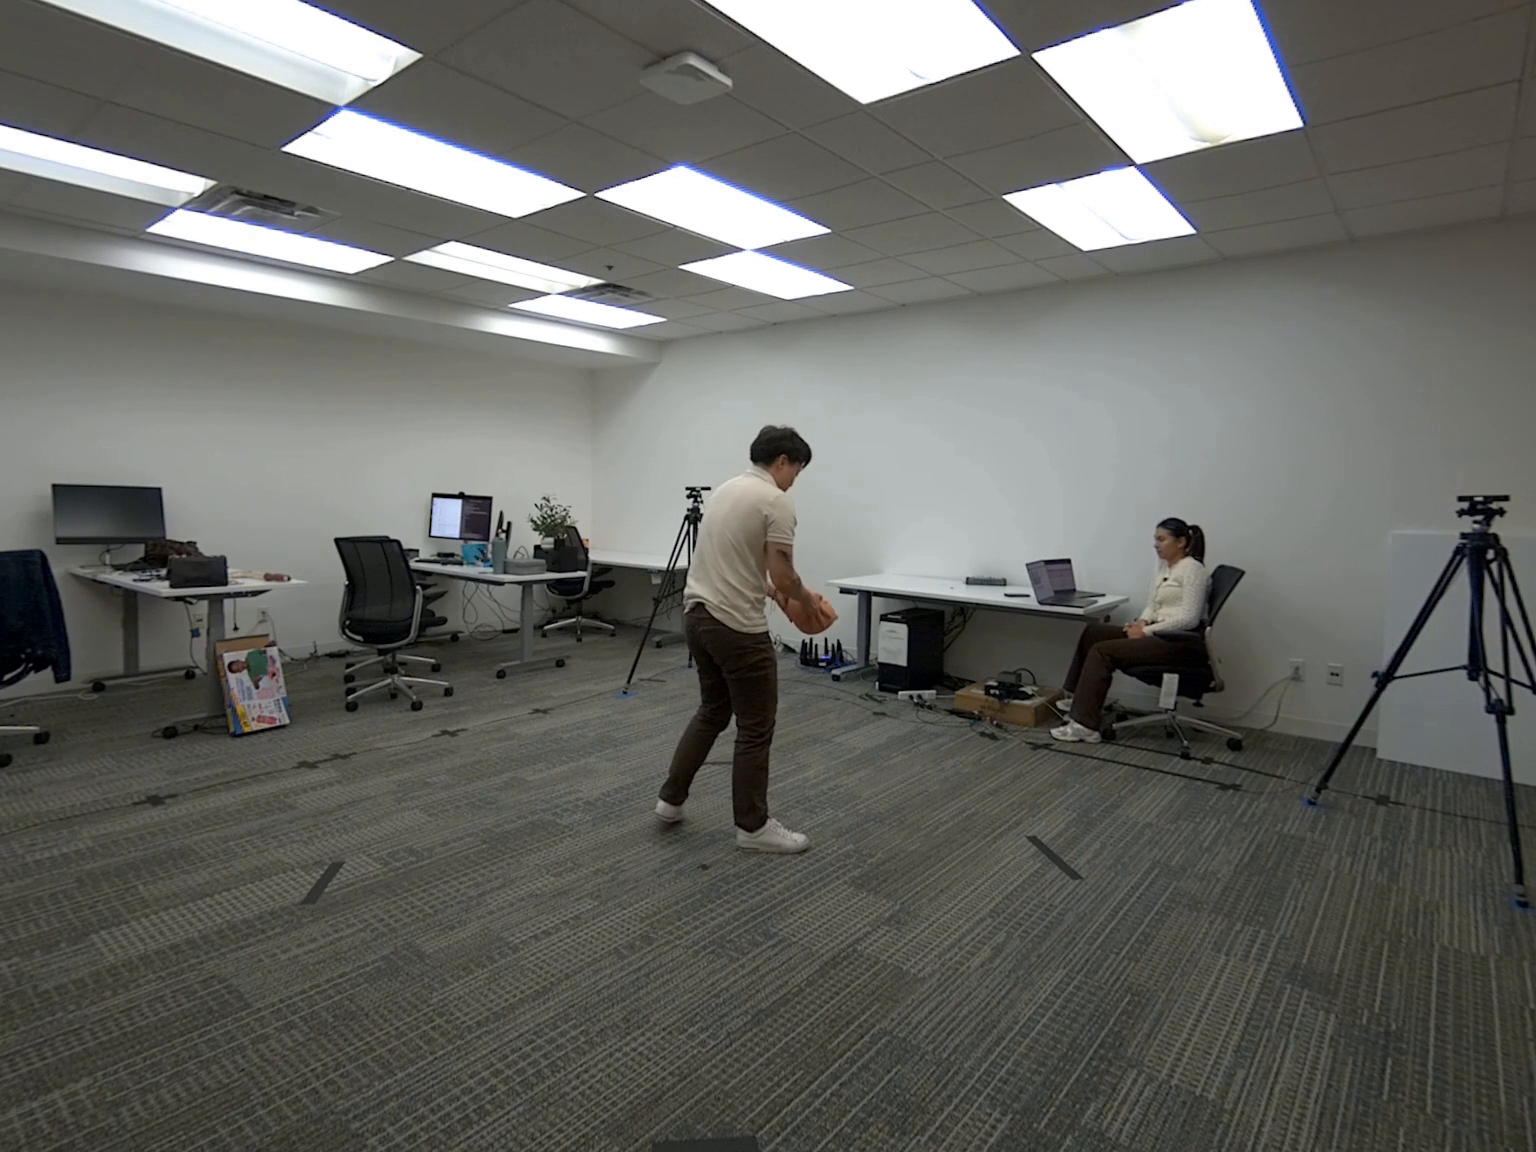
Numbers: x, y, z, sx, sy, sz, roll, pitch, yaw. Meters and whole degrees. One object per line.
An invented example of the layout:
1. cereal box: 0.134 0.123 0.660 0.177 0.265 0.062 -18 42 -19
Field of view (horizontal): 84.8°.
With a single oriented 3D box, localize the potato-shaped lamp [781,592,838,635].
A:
1. potato-shaped lamp: 0.156 0.139 3.499 0.170 0.193 0.170 -40 23 -23
